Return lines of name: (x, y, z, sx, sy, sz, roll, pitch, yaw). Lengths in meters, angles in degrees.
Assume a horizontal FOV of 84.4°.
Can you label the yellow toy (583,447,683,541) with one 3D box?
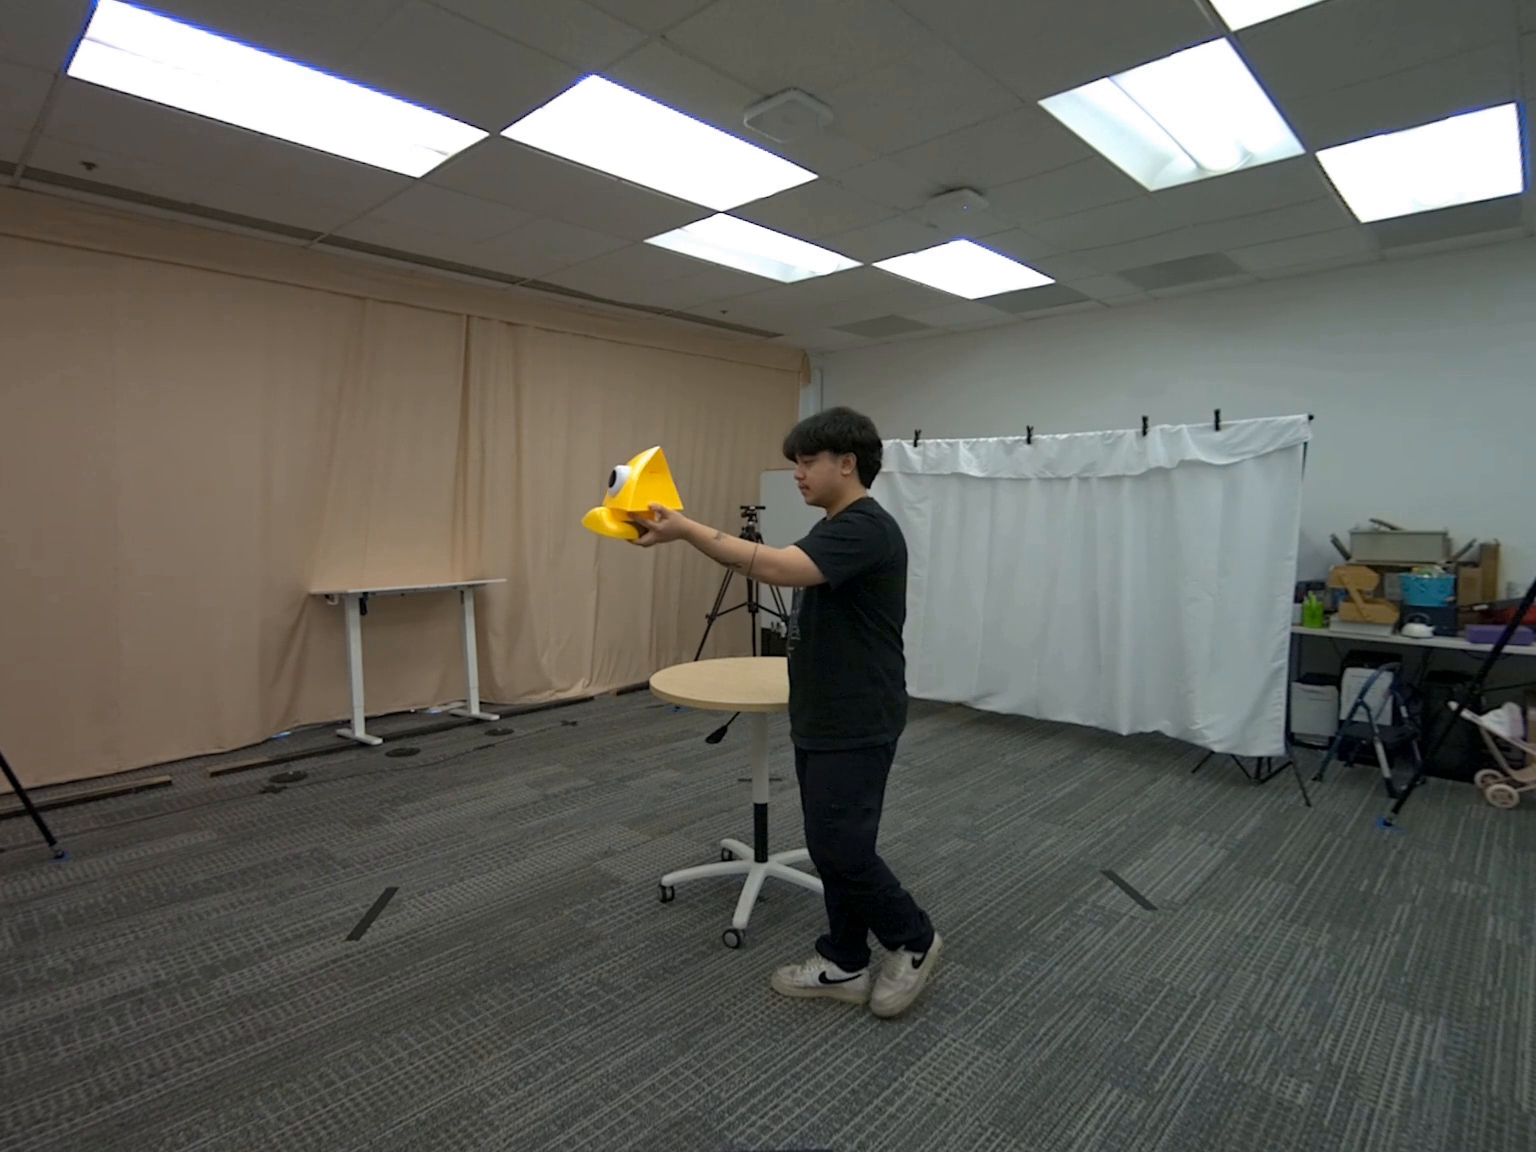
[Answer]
yellow toy: (-0.331, -0.225, 2.097, 0.200, 0.229, 0.199, 20, 15, 33)
